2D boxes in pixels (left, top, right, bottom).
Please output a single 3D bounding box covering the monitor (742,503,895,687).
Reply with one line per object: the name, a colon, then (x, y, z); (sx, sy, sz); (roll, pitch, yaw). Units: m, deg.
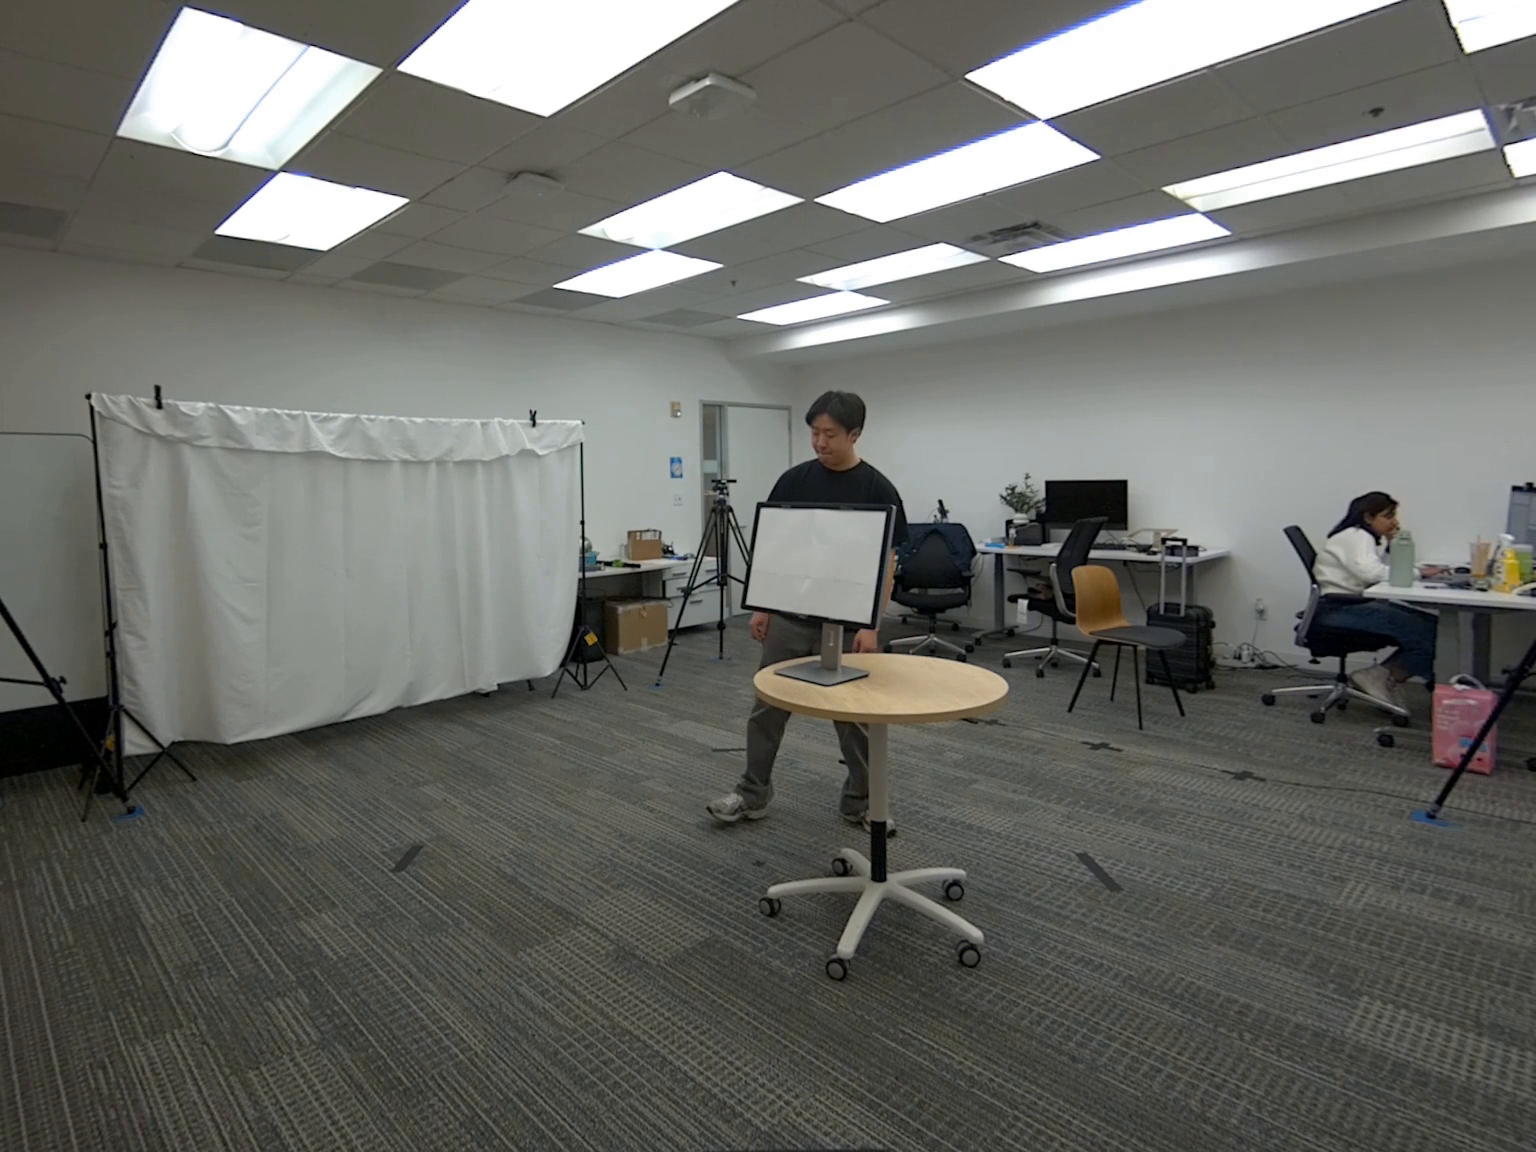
monitor: (0.184, 0.047, 2.697); (0.204, 0.554, 0.583); (4, 0, -44)
